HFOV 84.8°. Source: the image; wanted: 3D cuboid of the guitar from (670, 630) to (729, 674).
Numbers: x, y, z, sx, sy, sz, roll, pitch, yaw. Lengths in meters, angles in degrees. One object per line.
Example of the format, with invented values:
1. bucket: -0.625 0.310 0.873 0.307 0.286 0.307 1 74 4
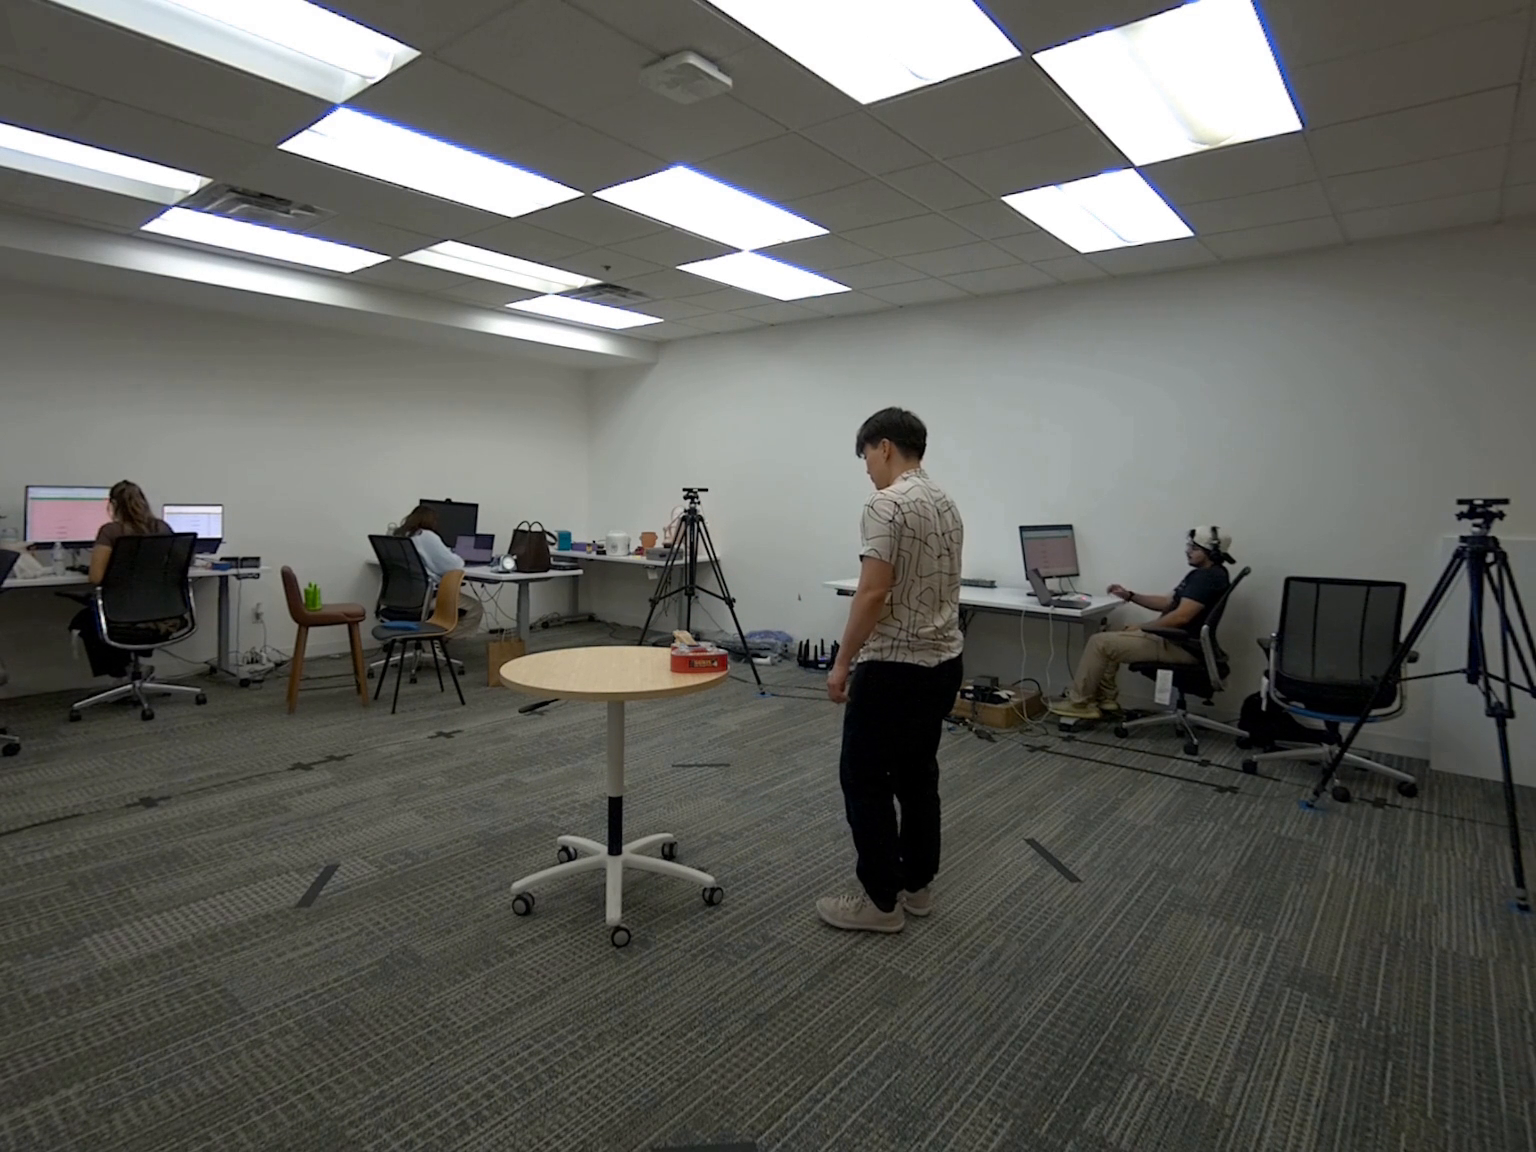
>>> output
1. guitar: -0.253 0.263 3.004 0.192 0.070 0.502 -1 6 -5
